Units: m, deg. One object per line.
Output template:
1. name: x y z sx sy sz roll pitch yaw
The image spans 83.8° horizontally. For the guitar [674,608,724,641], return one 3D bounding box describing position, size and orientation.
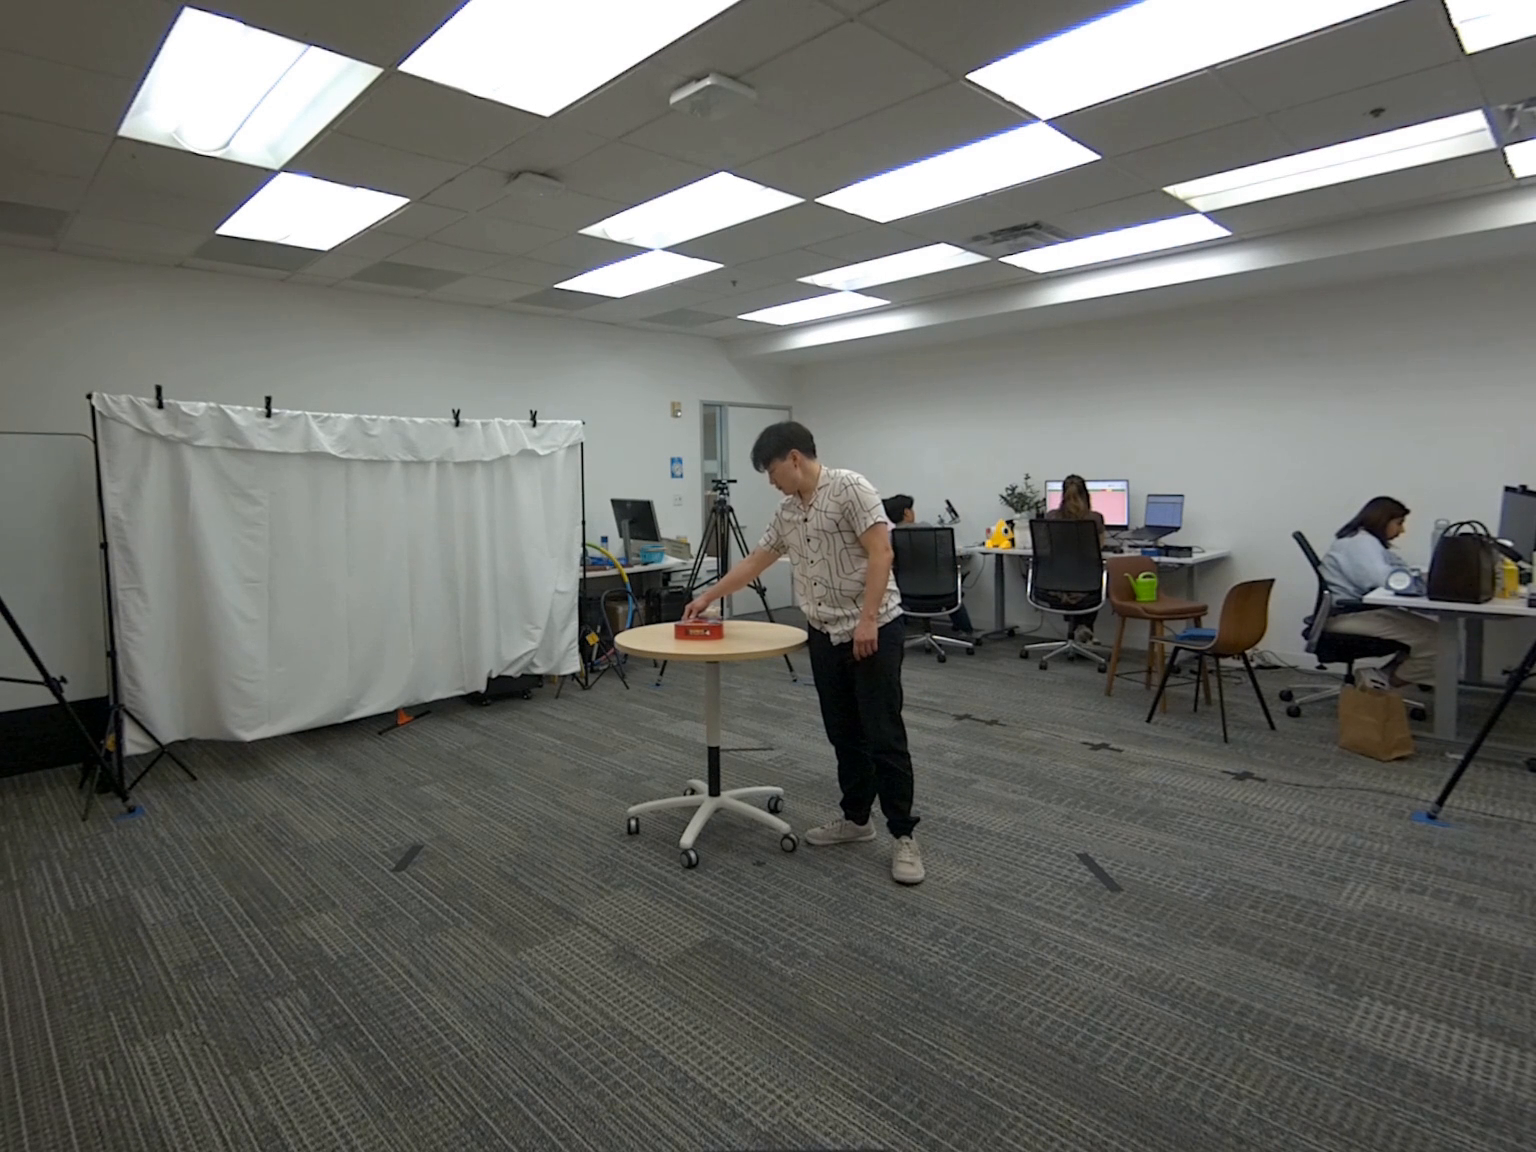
1. guitar: -0.215 0.189 3.516 0.196 0.070 0.492 0 6 15
